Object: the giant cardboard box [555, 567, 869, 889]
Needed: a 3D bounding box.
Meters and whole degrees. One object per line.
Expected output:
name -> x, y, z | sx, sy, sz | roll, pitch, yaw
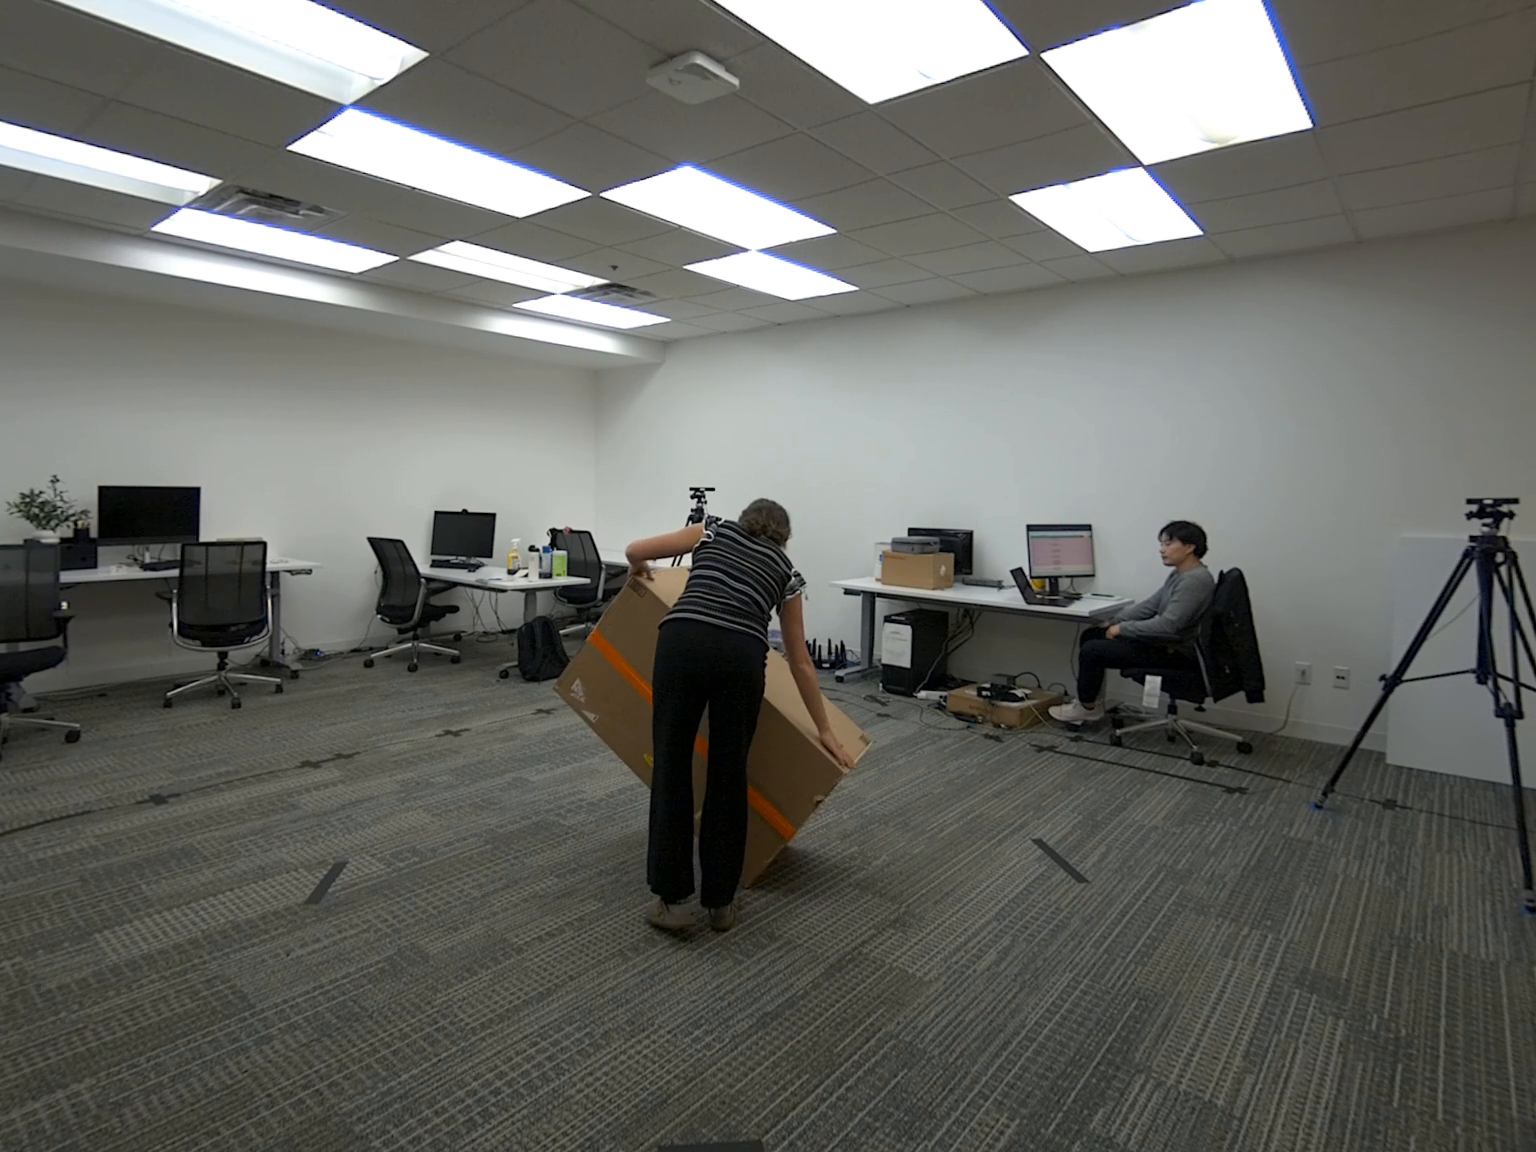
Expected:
giant cardboard box -> -0.222, 0.522, 3.211 | 1.050, 0.576, 0.417 | 42, 17, 16
